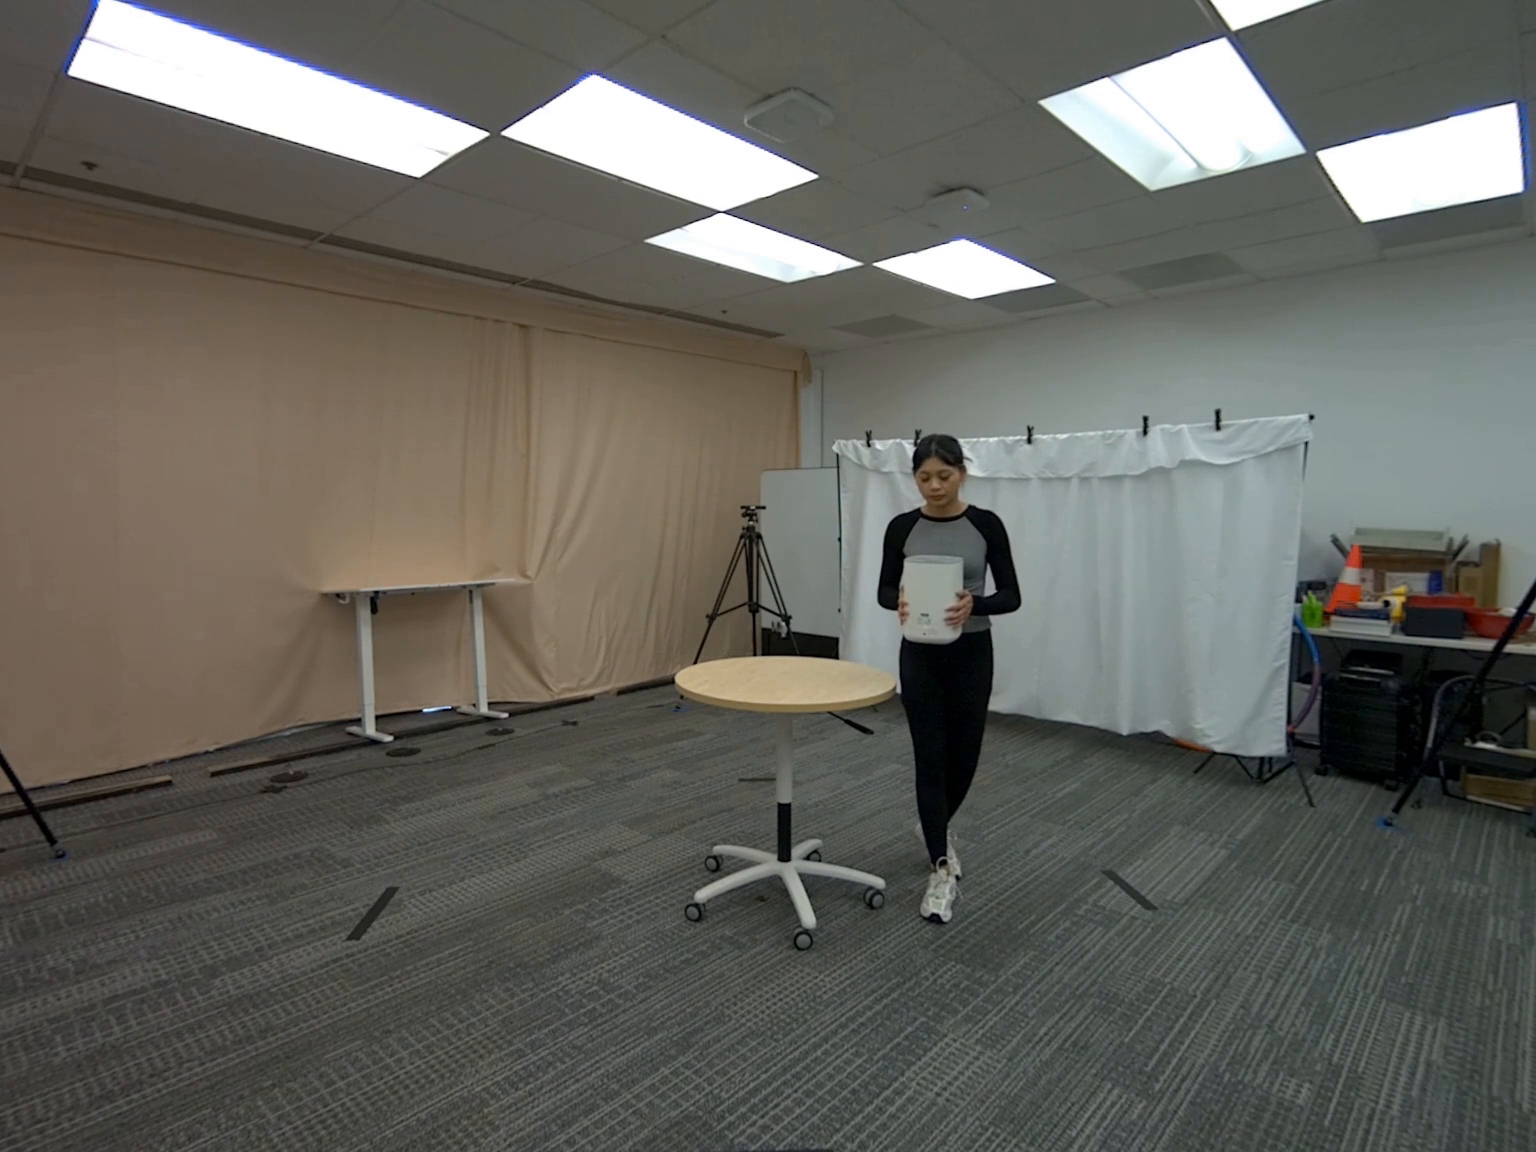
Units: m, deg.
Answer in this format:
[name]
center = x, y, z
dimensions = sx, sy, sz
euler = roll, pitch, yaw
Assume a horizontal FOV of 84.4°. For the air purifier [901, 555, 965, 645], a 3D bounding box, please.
[air purifier]
center = 0.533, 0.075, 2.724
dimensions = 0.175, 0.264, 0.168
euler = 4, 5, 25
